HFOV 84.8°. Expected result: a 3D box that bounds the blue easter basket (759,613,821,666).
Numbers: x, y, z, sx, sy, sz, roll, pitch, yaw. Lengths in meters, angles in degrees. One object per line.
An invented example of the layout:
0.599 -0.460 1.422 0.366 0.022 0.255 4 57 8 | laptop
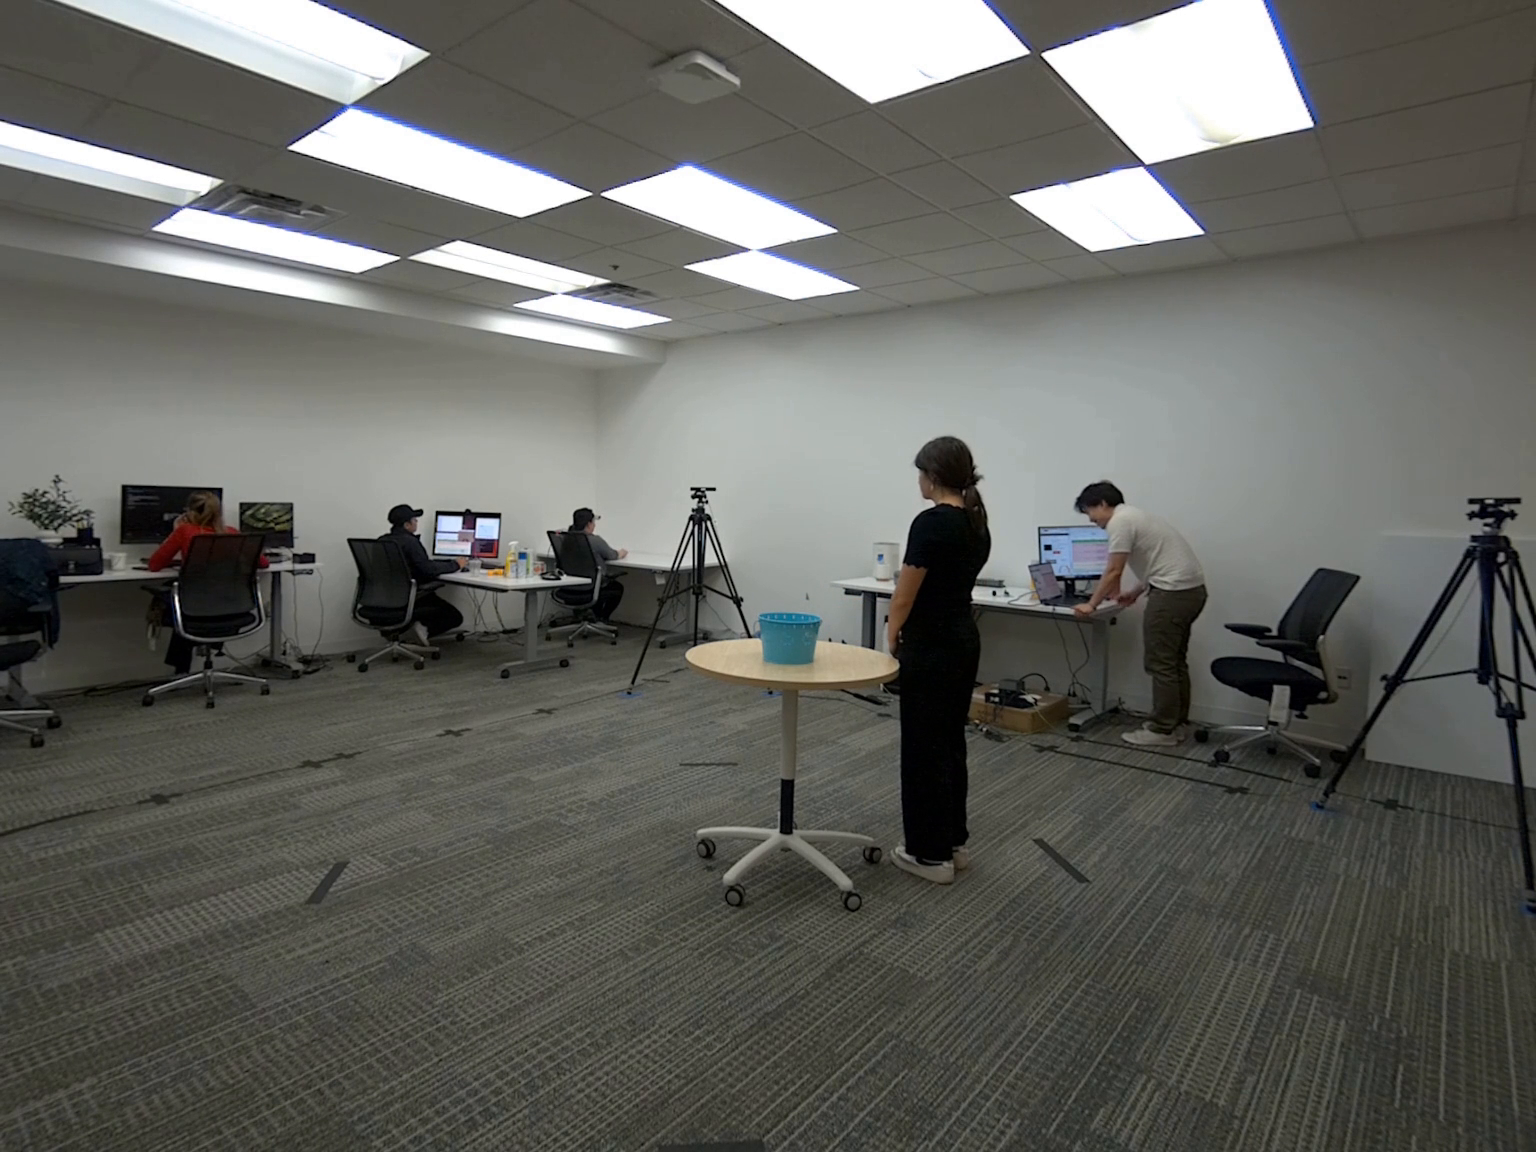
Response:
0.071 0.222 3.040 0.243 0.155 0.244 3 3 -2 | blue easter basket
